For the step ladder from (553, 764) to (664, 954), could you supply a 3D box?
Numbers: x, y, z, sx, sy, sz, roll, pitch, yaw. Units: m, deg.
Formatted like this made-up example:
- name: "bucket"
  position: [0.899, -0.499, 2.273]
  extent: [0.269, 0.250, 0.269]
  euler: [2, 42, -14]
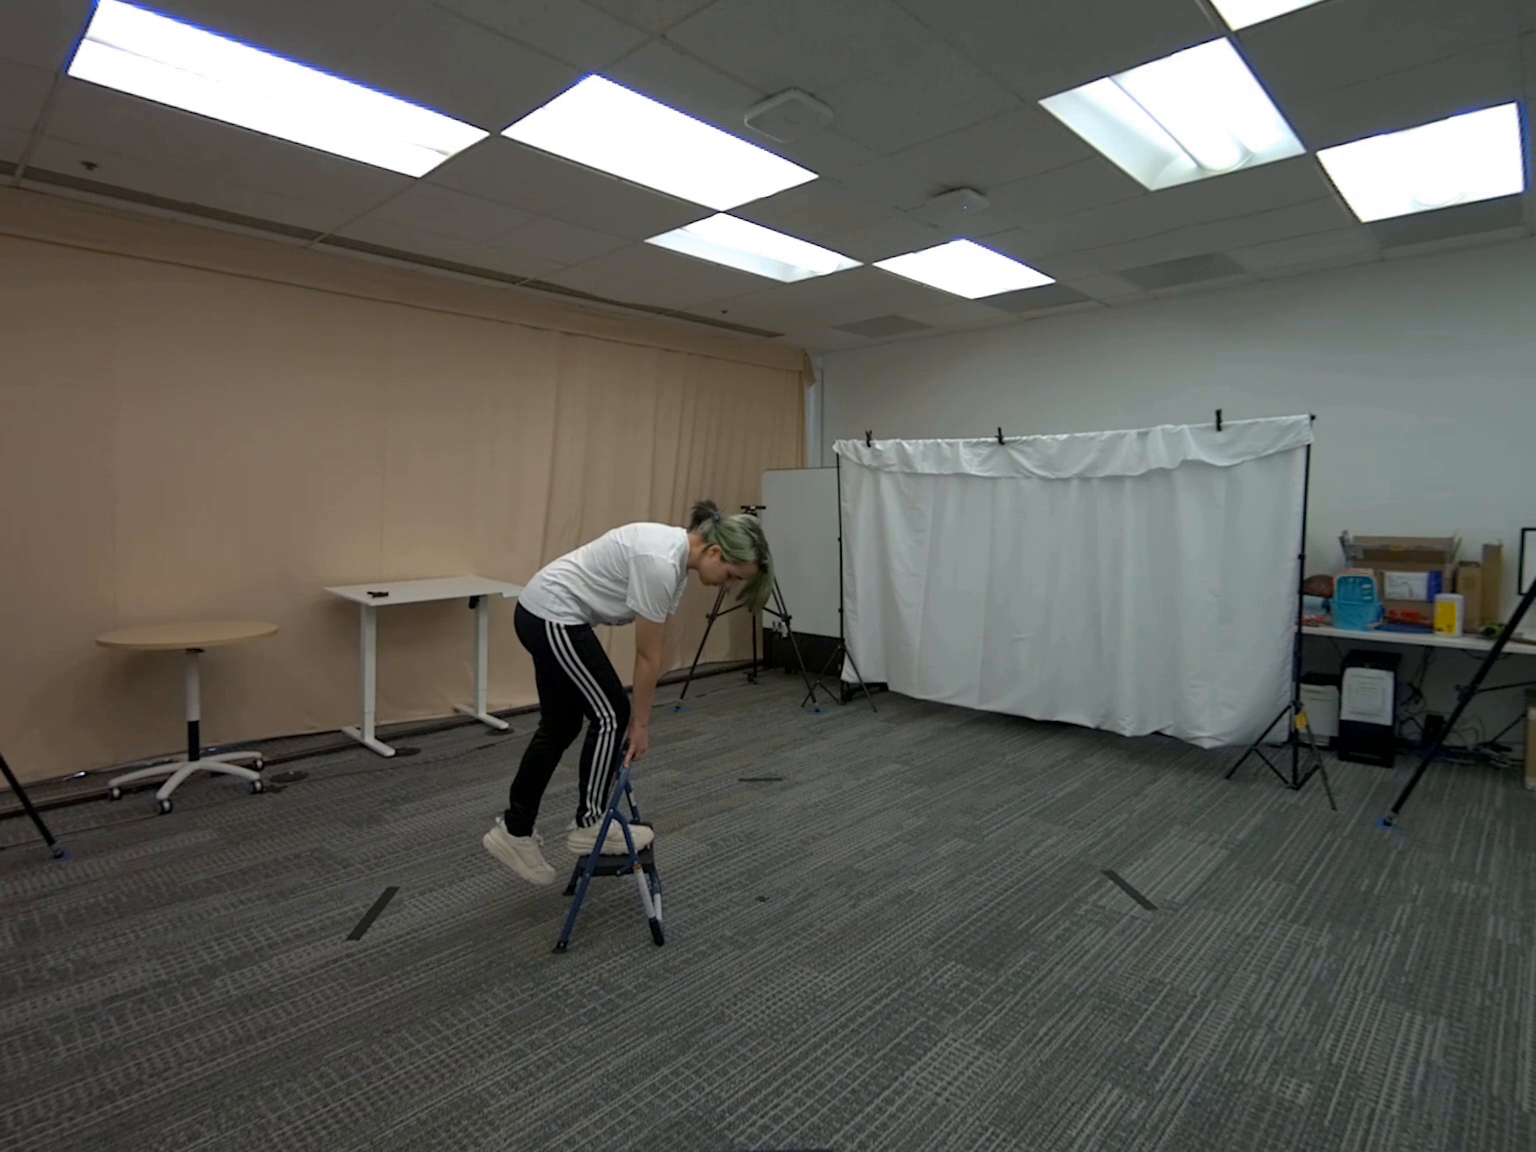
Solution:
- name: "step ladder"
  position: [-0.533, 0.863, 2.837]
  extent: [0.347, 0.605, 0.435]
  euler: [-1, 3, -8]
